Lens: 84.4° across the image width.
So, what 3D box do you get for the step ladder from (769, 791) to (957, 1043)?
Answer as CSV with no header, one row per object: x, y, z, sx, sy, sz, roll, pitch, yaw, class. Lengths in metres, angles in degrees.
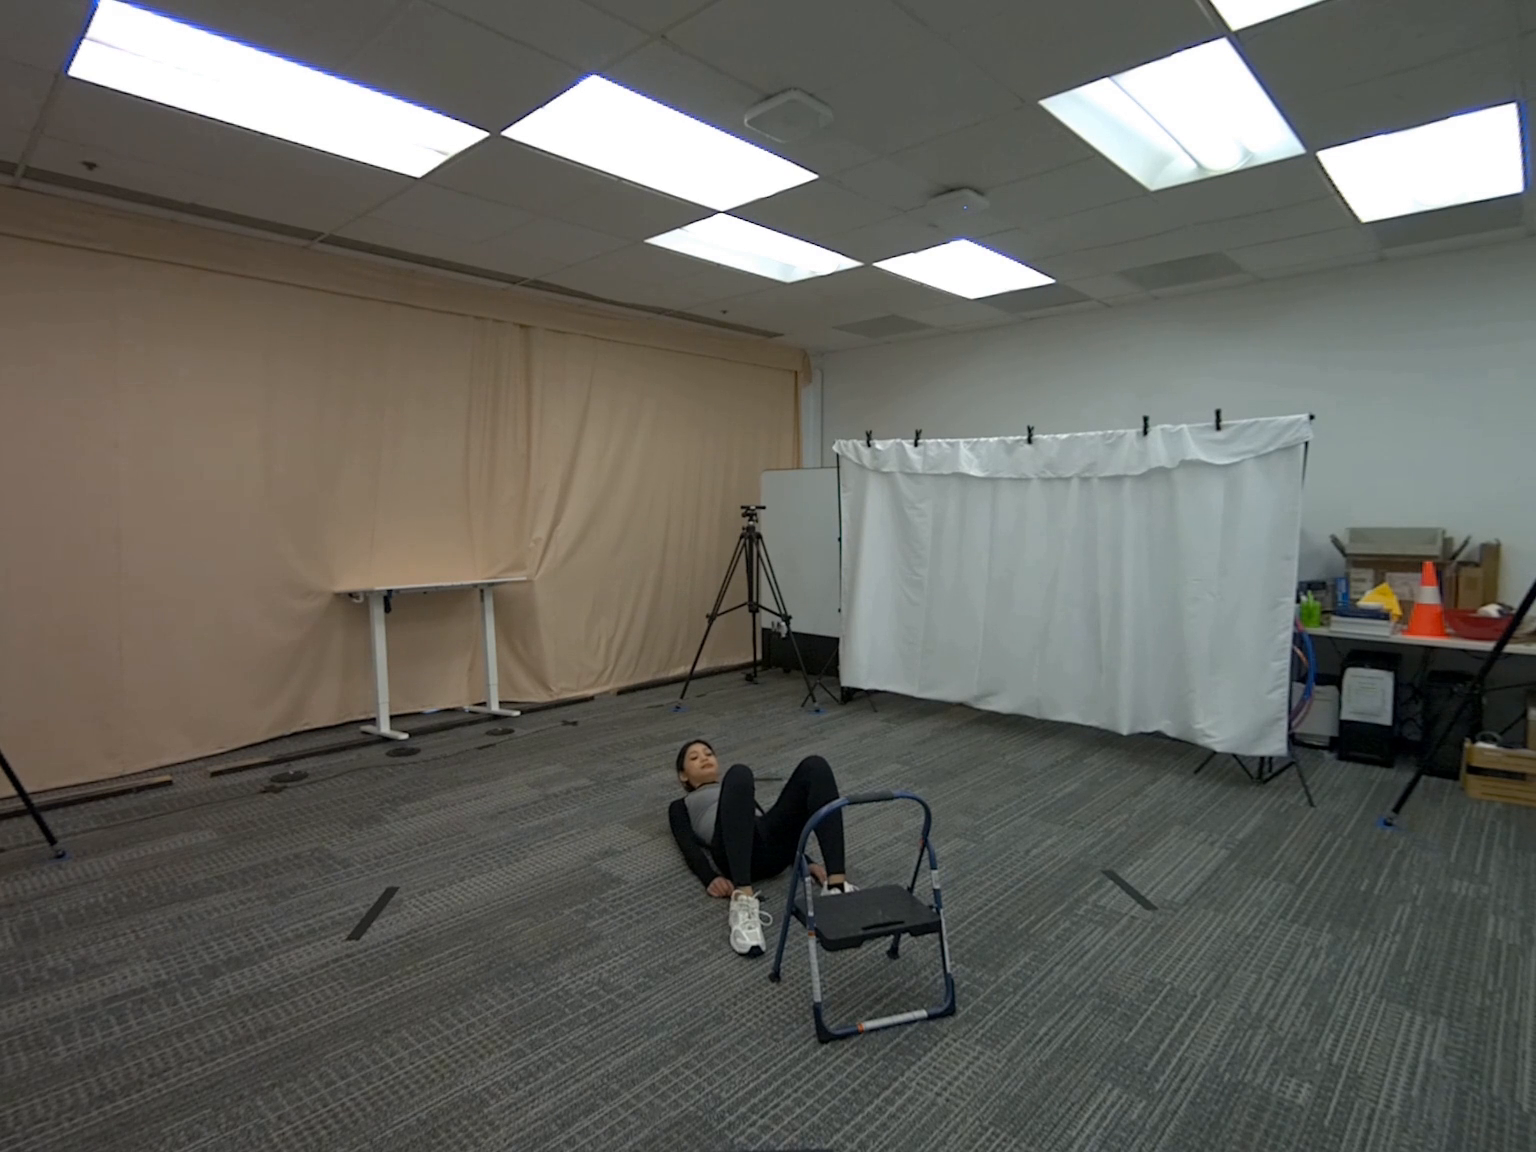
0.270,0.892,2.383,0.422,0.605,0.357,-1,3,-21,step ladder
